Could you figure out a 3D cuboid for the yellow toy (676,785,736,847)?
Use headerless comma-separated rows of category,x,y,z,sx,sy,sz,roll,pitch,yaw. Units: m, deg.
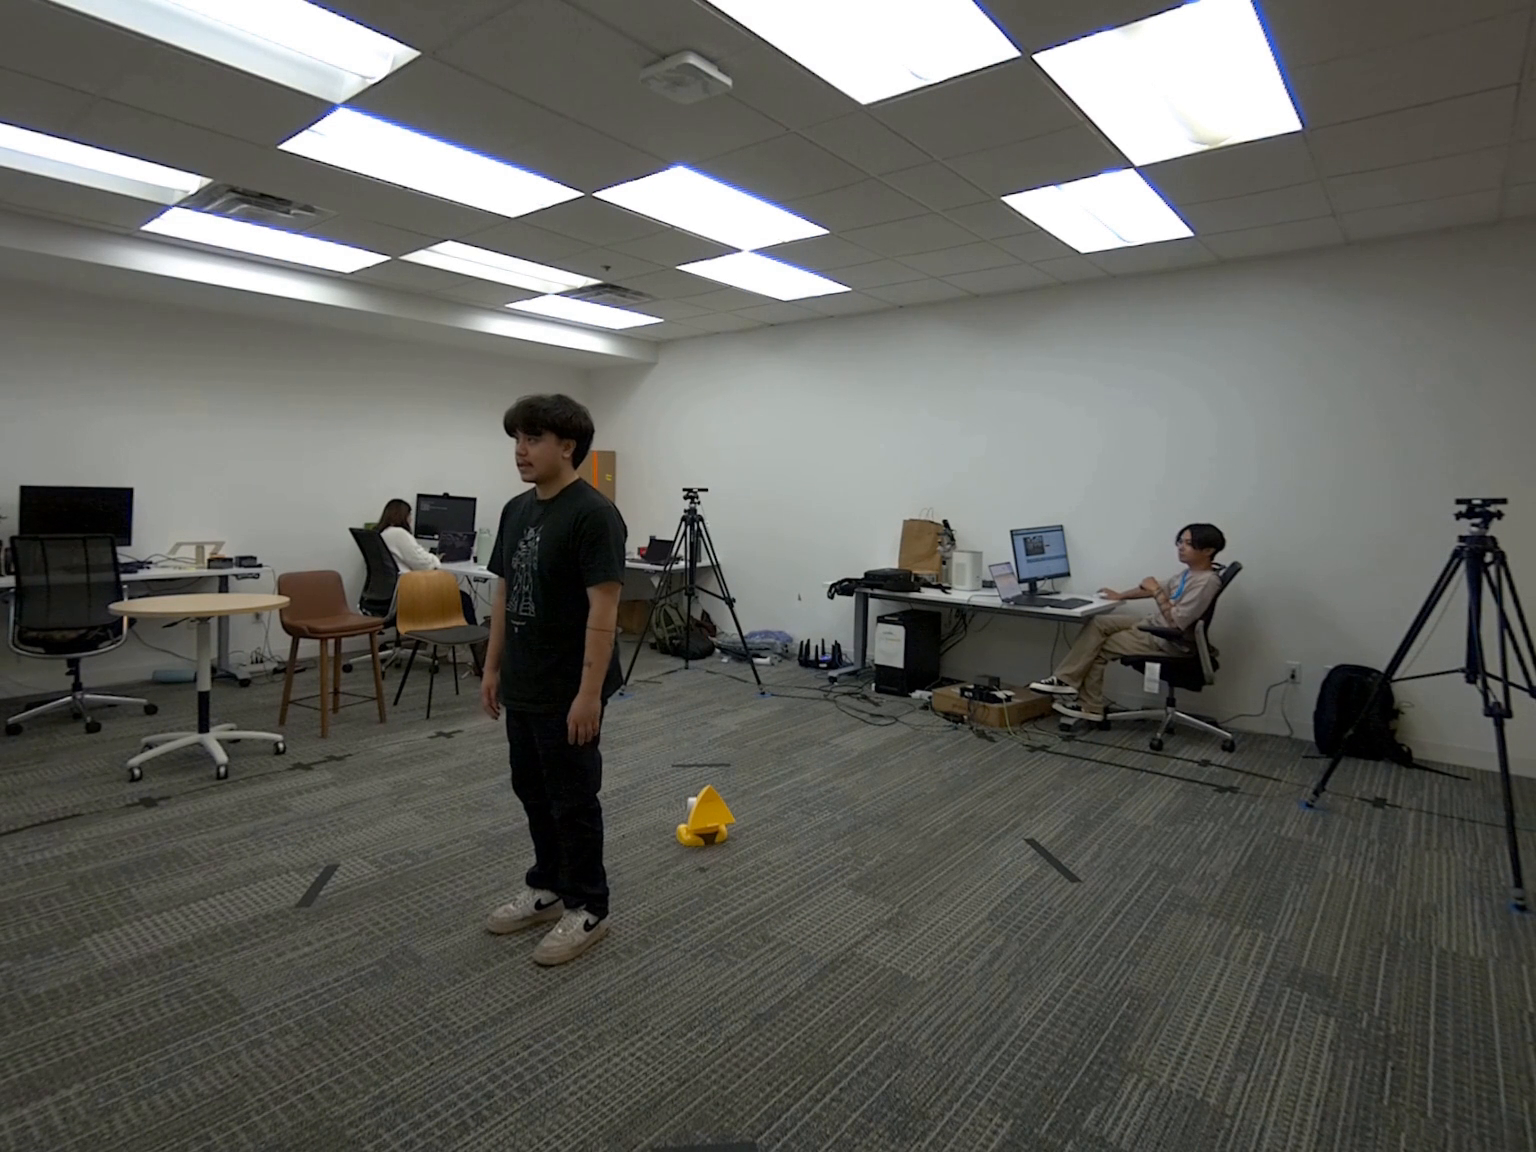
yellow toy,-0.271,0.927,3.393,0.199,0.230,0.199,-1,4,-29
